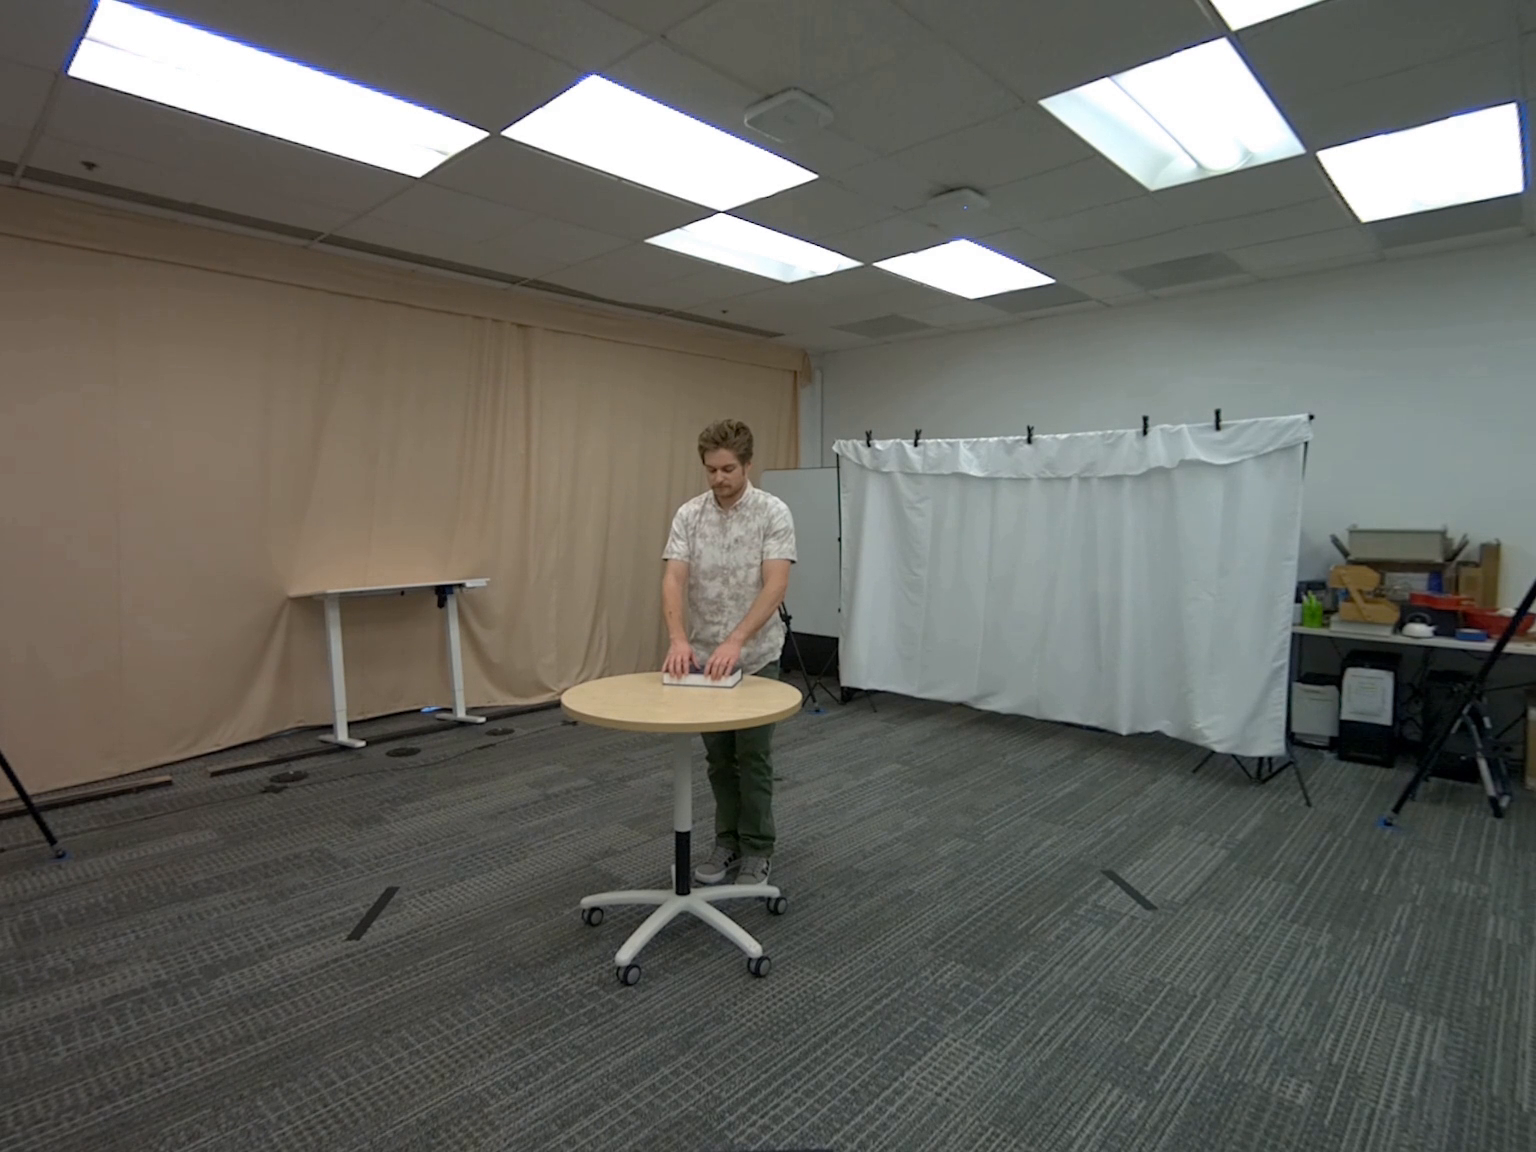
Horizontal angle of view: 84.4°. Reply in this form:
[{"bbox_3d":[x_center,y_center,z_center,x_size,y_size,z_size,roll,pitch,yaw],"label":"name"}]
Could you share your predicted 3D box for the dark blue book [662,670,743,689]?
[{"bbox_3d":[-0.225,0.345,2.898,0.248,0.045,0.161,2,4,12],"label":"dark blue book"}]
